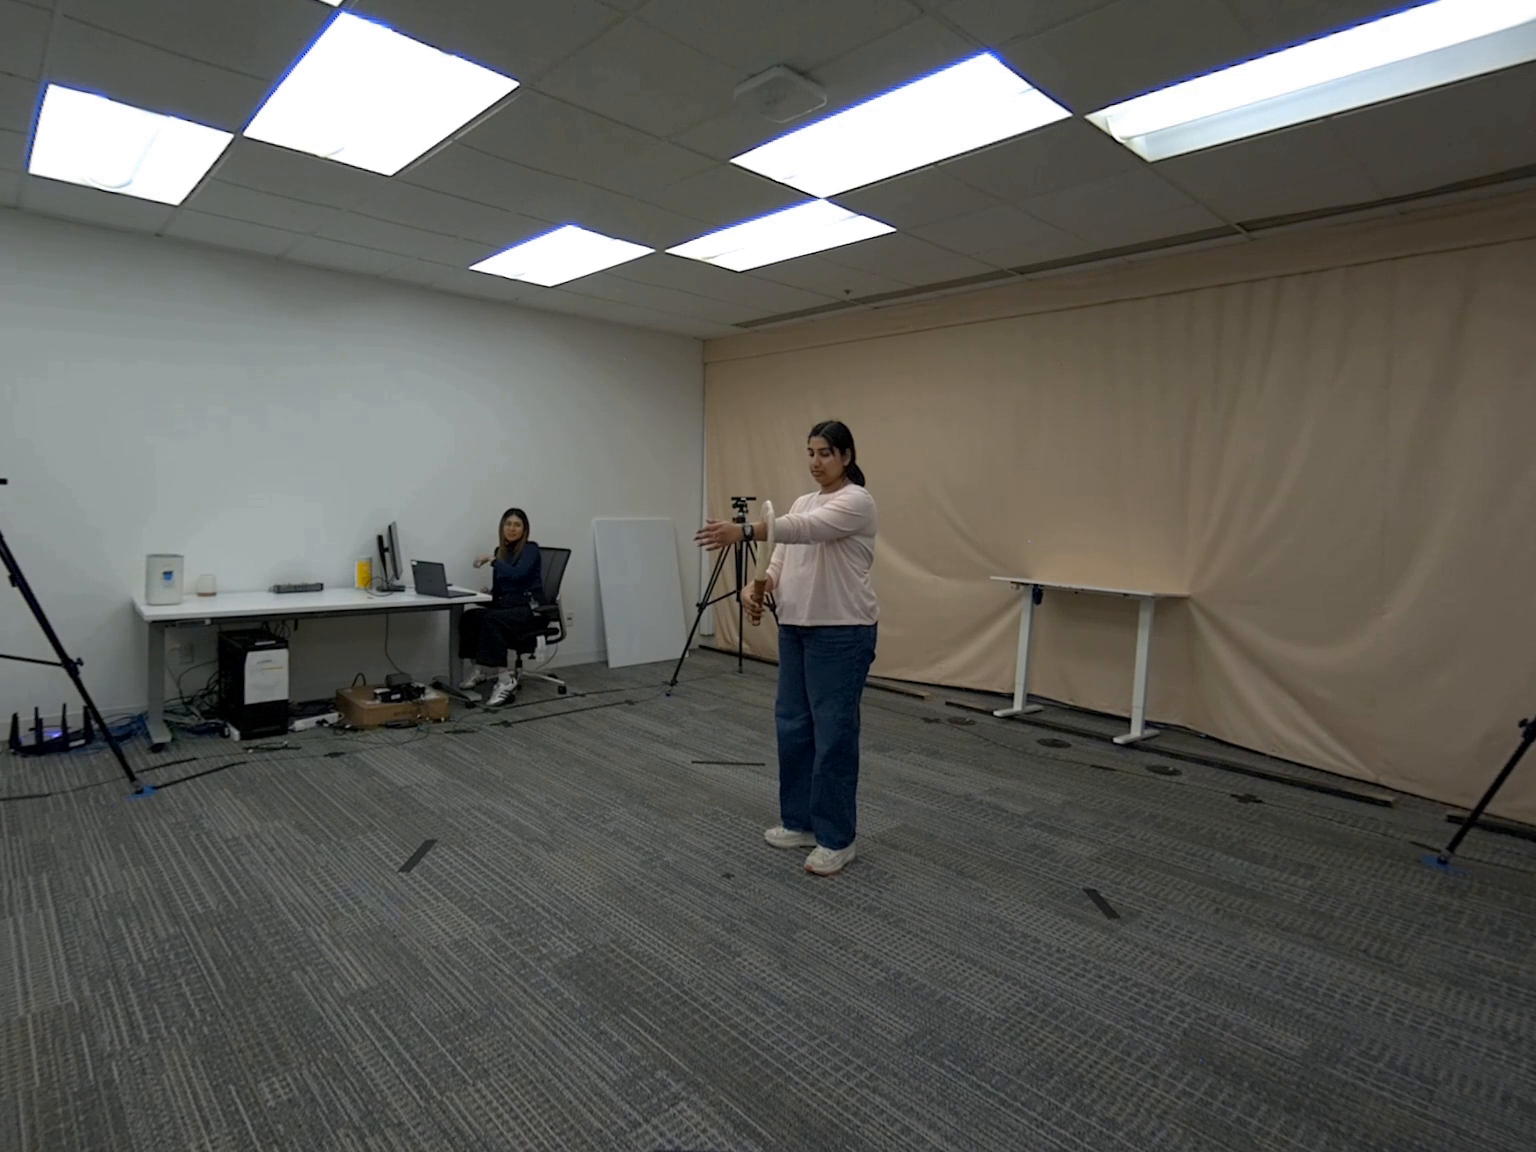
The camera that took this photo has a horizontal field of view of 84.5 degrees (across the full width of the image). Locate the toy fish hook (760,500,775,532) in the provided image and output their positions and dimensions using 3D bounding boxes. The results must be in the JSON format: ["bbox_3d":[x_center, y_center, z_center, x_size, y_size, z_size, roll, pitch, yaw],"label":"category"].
[{"bbox_3d":[-0.013,-0.013,2.919,0.048,0.497,0.227,2,26,5],"label":"toy fish hook"}]
